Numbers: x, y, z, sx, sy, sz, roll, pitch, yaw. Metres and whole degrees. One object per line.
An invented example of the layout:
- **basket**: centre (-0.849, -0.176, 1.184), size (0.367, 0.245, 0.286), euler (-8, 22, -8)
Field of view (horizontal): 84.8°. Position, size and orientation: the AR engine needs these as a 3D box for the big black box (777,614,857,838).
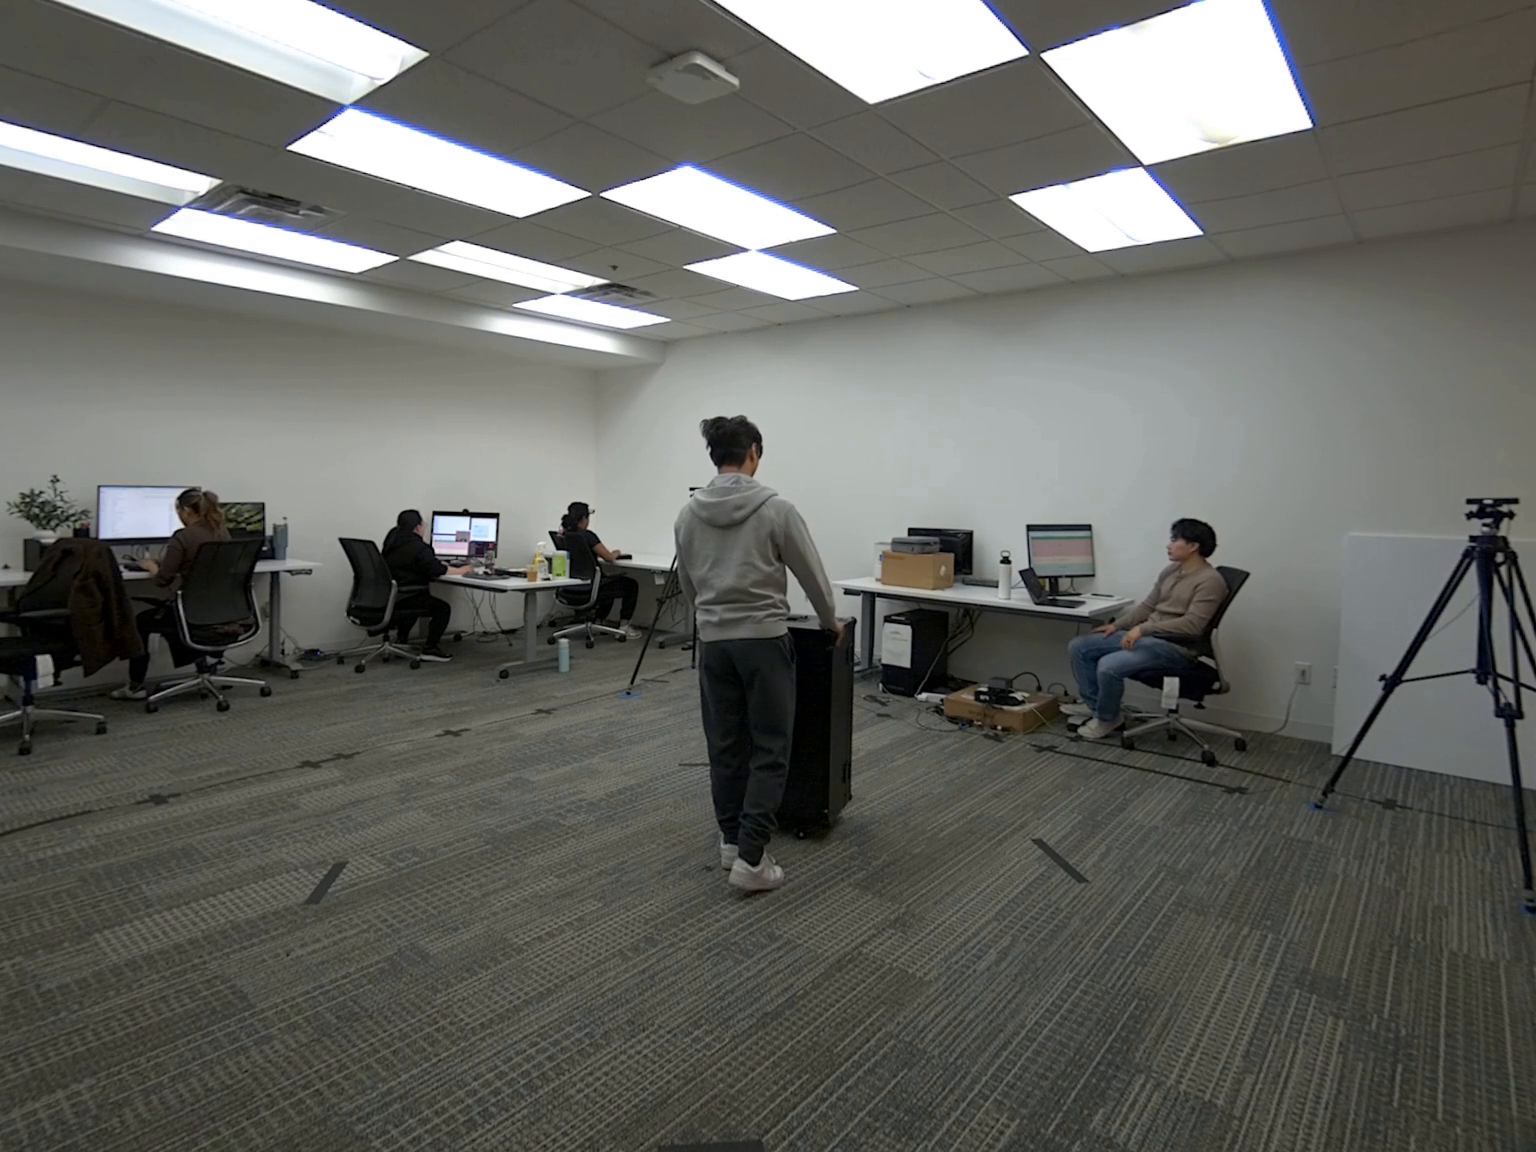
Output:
- **big black box**: centre (0.075, 0.606, 3.557), size (0.534, 0.858, 0.388), euler (2, 4, 22)
